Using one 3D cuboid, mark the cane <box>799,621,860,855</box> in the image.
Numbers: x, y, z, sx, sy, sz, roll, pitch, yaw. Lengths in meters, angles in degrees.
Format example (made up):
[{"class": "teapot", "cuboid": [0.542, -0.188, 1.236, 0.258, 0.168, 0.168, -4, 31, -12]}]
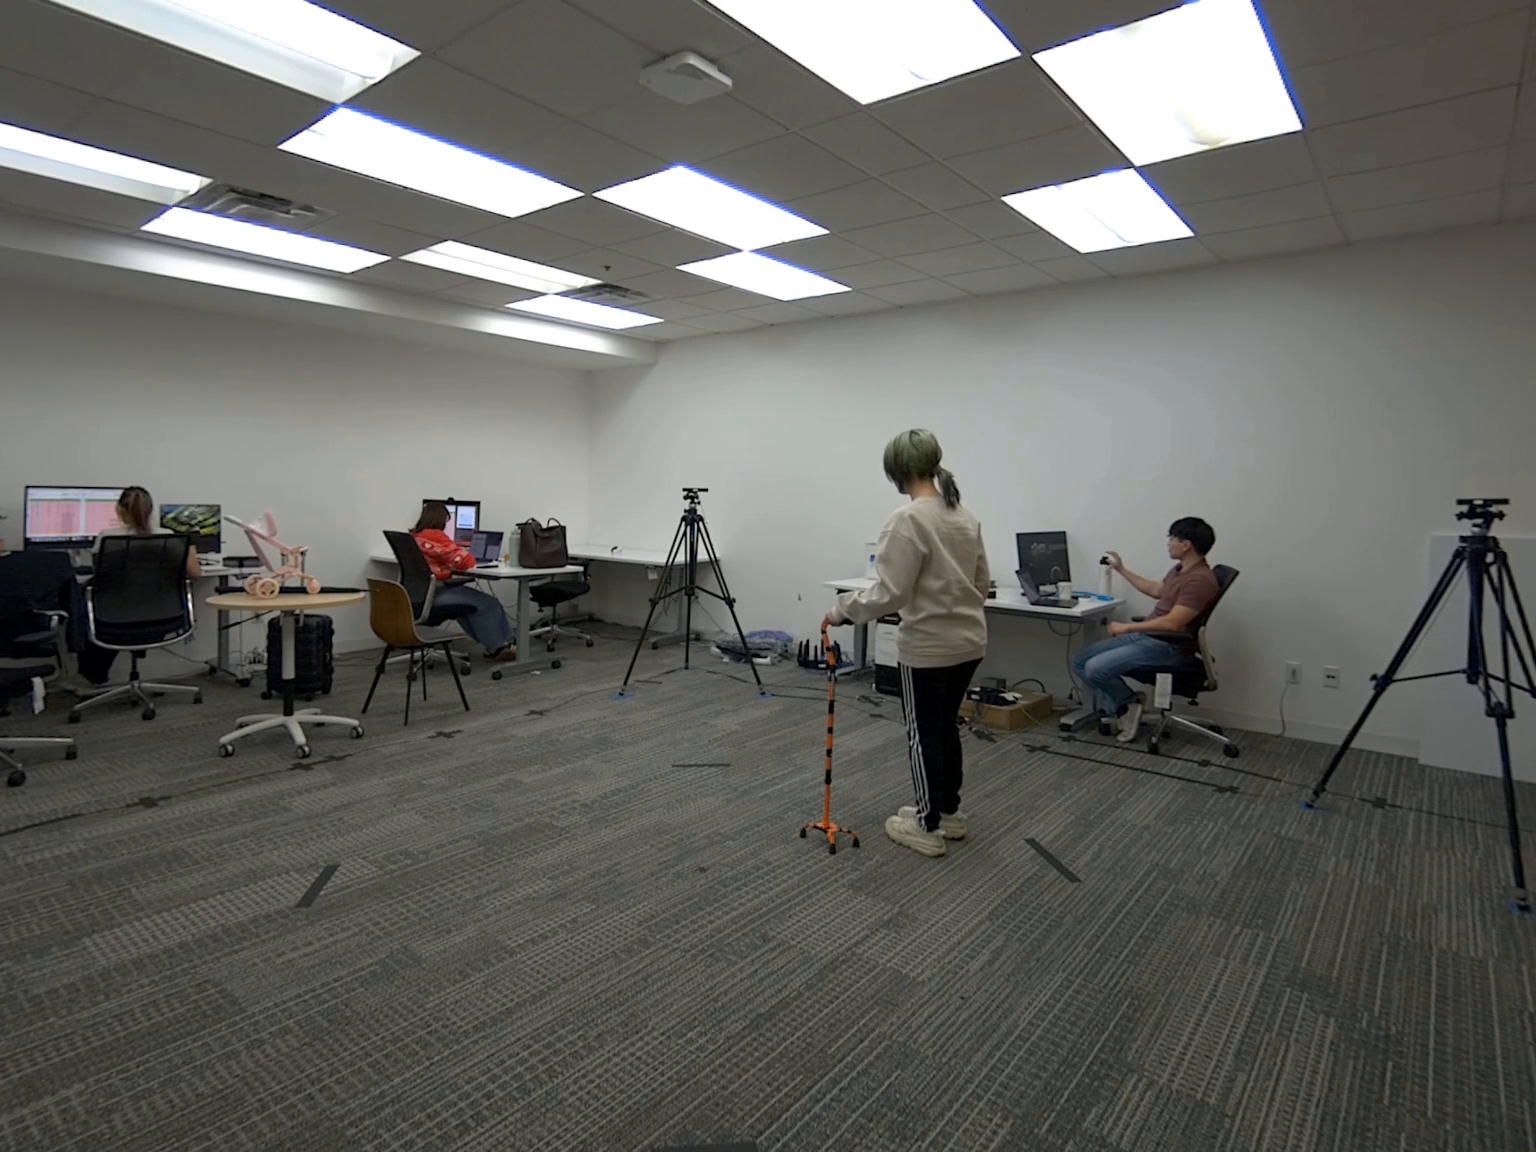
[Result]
[{"class": "cane", "cuboid": [0.257, 0.600, 3.372, 0.147, 0.906, 0.213, 1, 3, -37]}]
